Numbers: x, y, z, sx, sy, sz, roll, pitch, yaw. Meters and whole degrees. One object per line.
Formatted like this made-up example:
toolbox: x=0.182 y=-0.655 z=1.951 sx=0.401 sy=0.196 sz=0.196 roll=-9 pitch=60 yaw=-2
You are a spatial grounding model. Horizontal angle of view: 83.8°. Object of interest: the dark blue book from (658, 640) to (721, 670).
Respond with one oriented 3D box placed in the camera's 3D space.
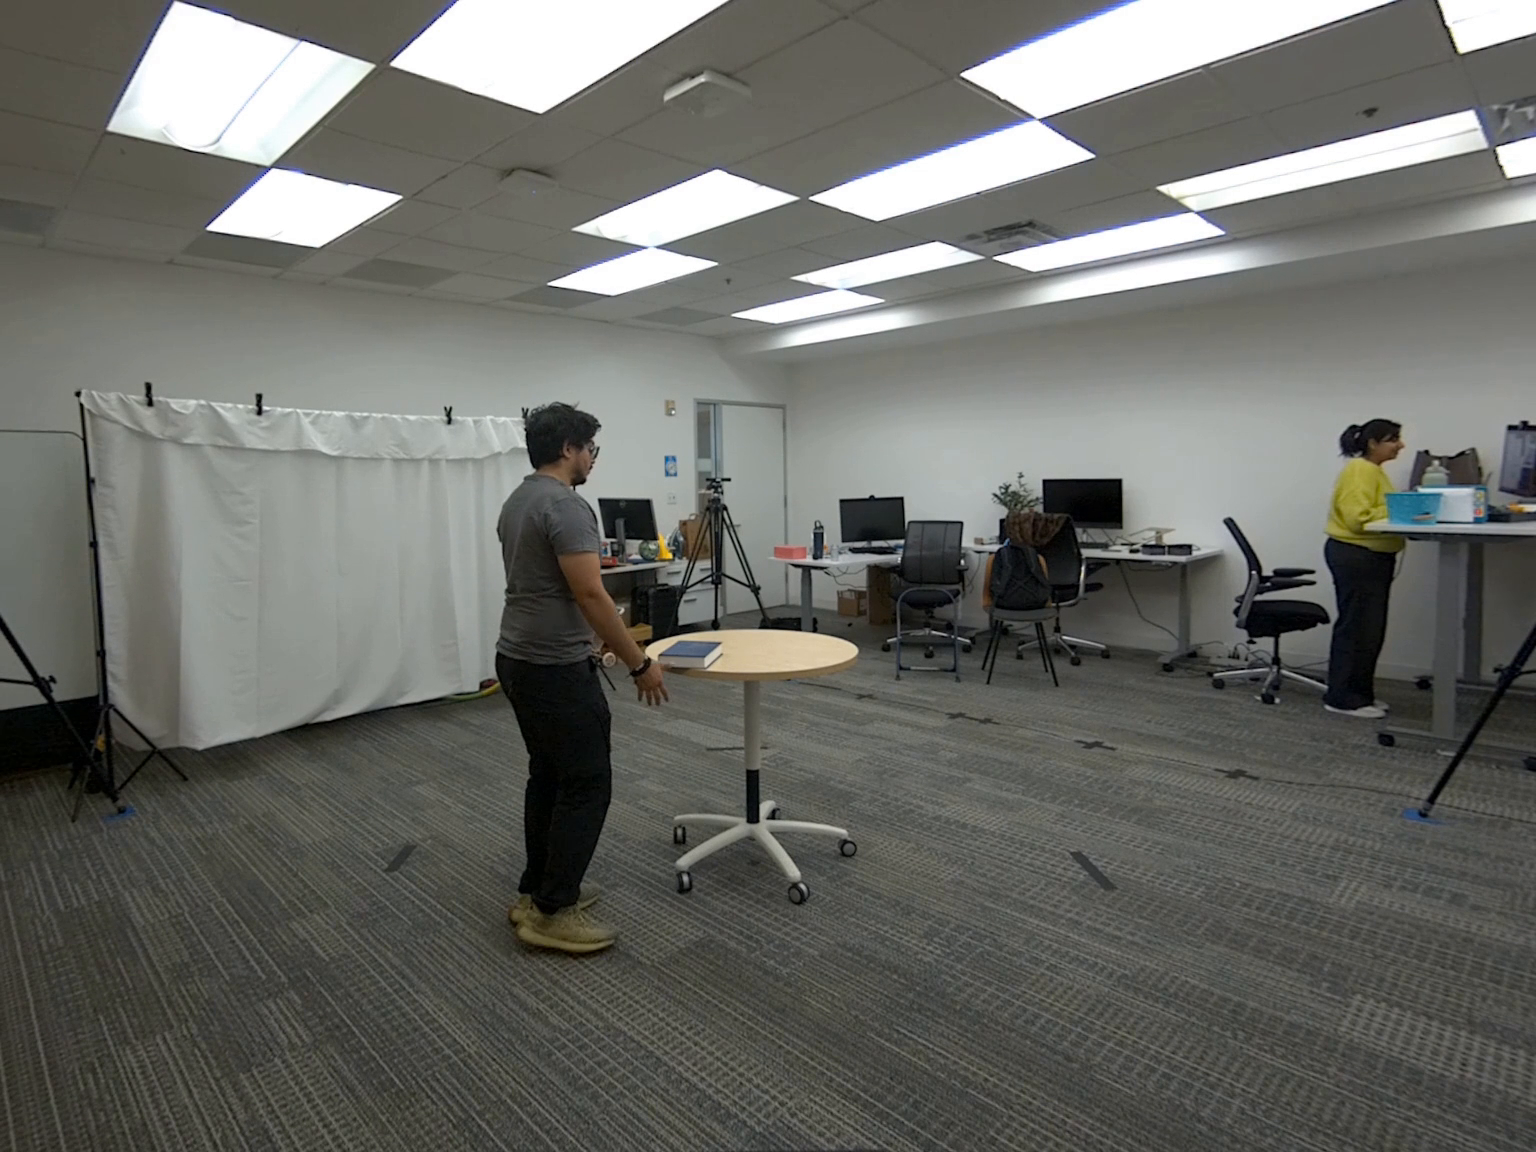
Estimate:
dark blue book: x=-0.257 y=0.263 z=2.897 sx=0.165 sy=0.045 sz=0.243 roll=1 pitch=6 yaw=11
